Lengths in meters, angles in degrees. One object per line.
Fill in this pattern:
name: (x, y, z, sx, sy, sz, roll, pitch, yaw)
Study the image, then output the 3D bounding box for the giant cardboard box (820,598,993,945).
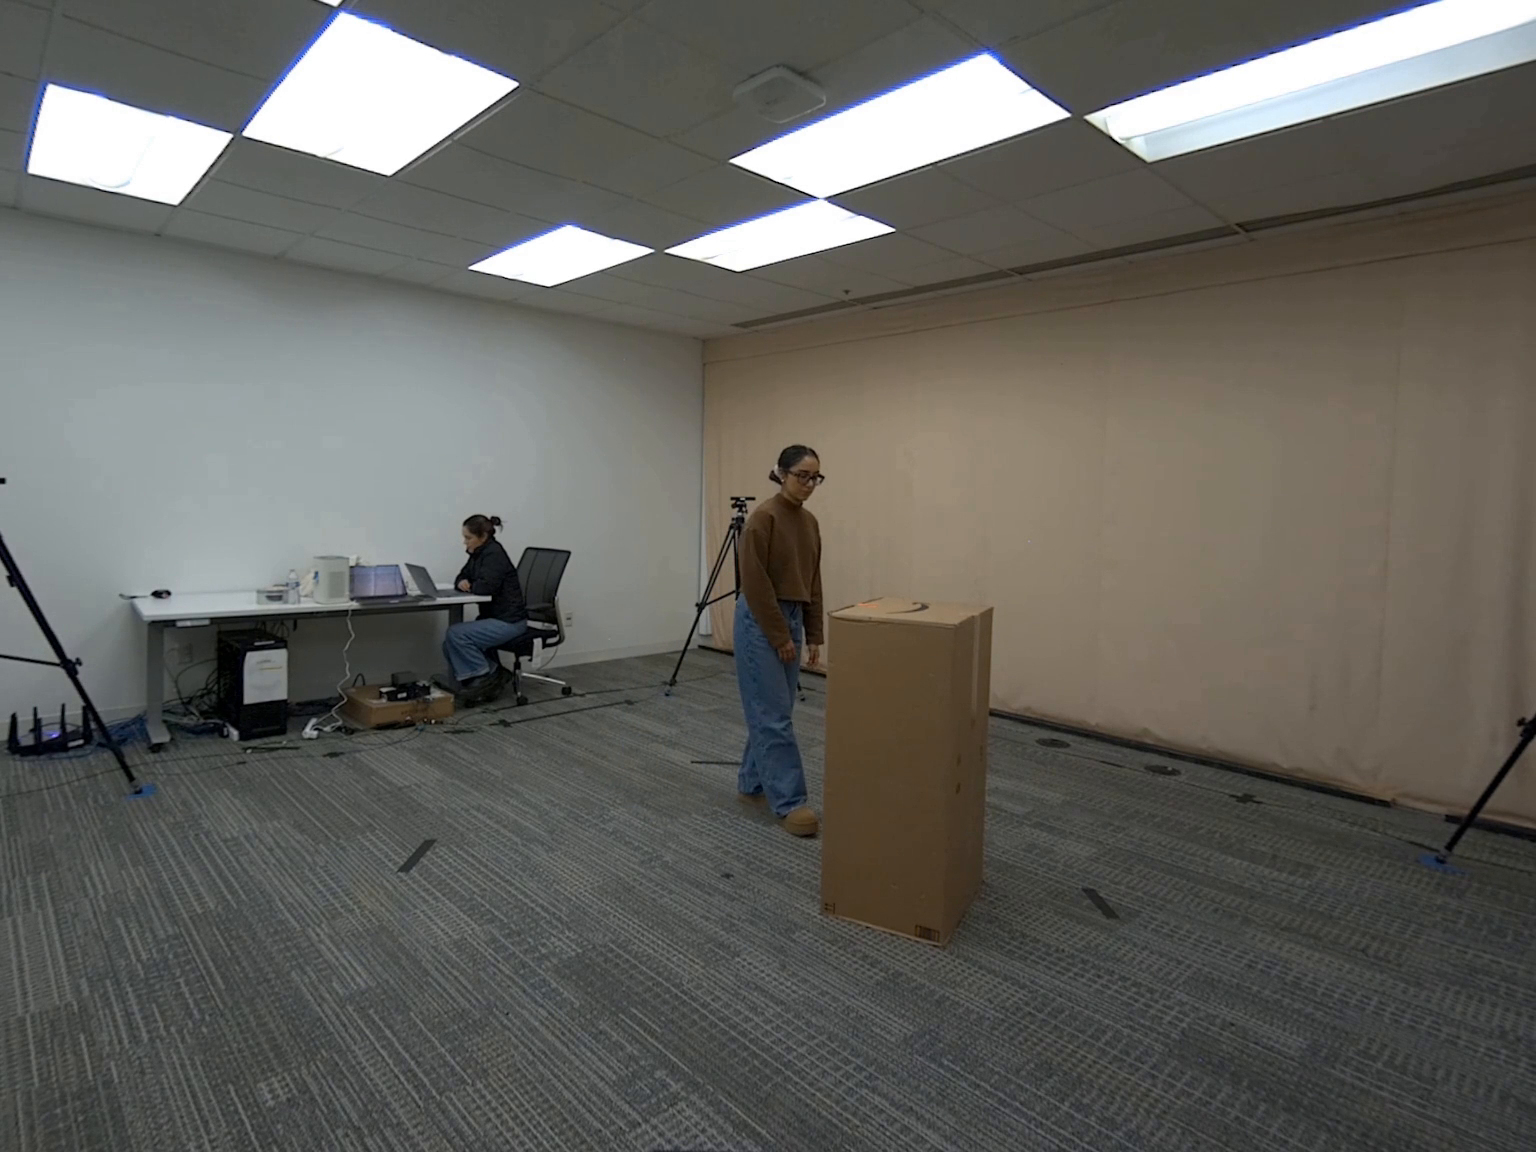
giant cardboard box: (0.496, 0.624, 2.950, 0.435, 1.023, 0.567, 3, 4, 28)
